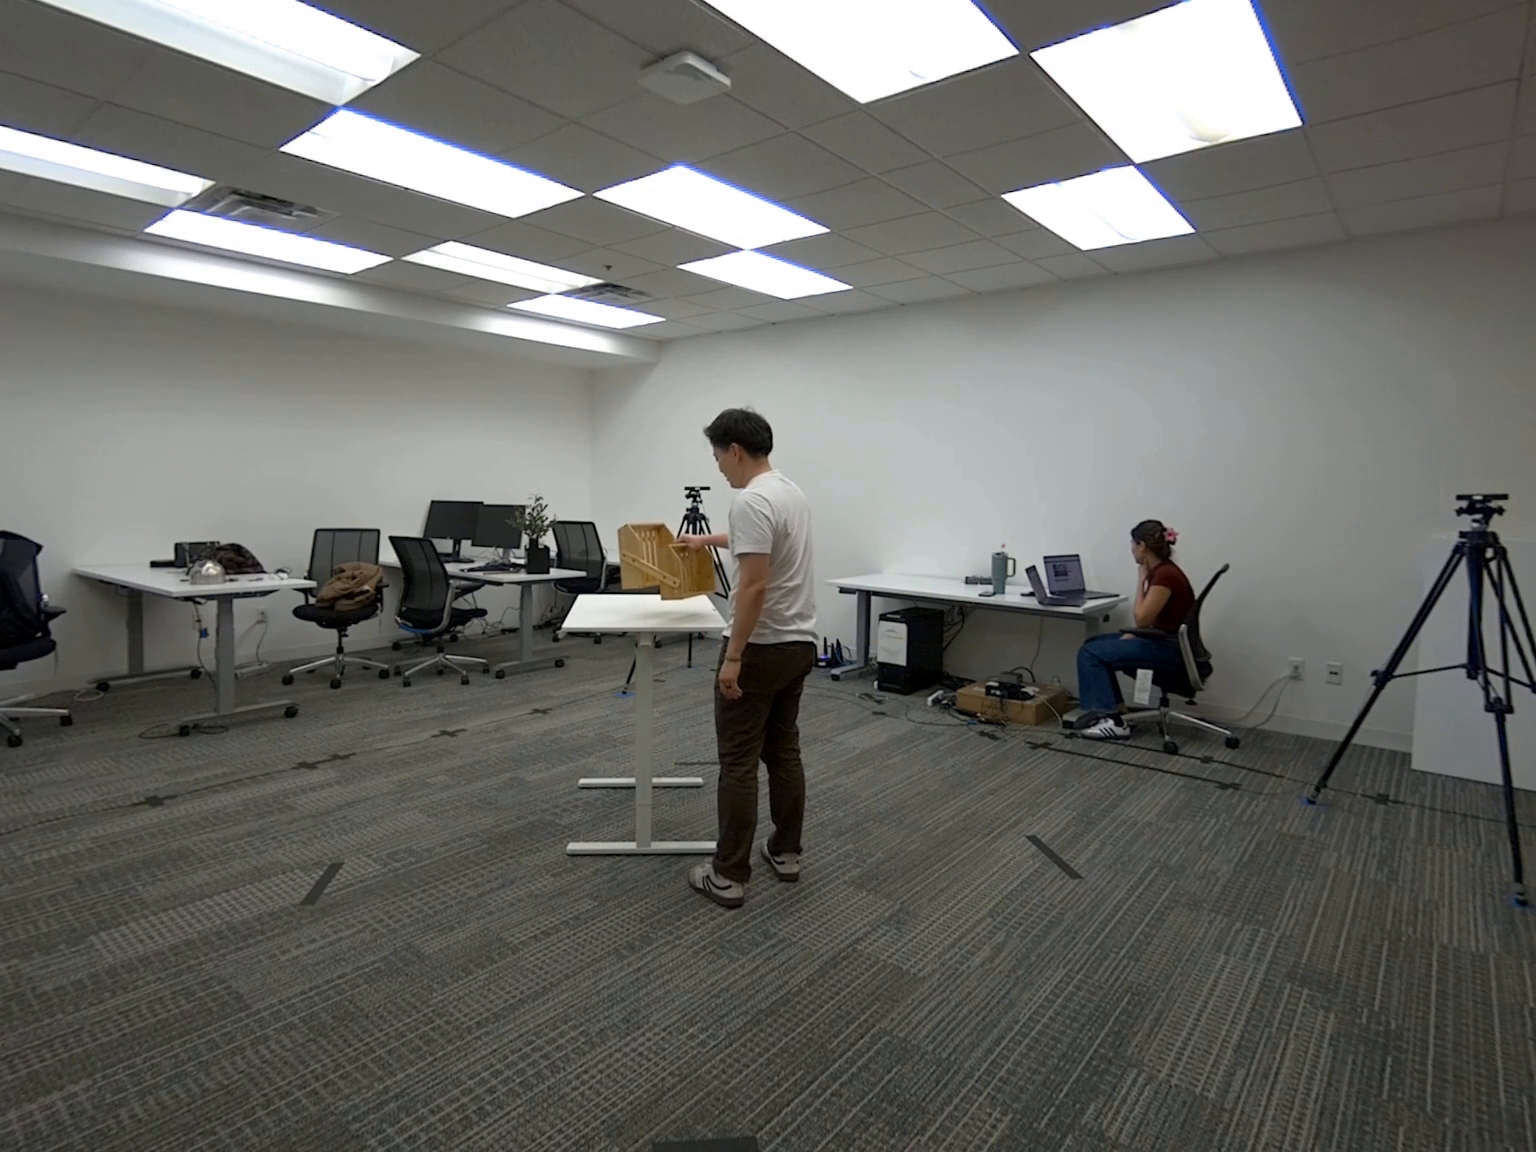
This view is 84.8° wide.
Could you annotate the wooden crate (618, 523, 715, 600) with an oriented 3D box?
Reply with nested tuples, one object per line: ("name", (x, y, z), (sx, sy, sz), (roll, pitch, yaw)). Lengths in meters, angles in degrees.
("wooden crate", (-0.399, -0.069, 3.373), (0.279, 0.302, 0.318), (-4, 2, 23))
